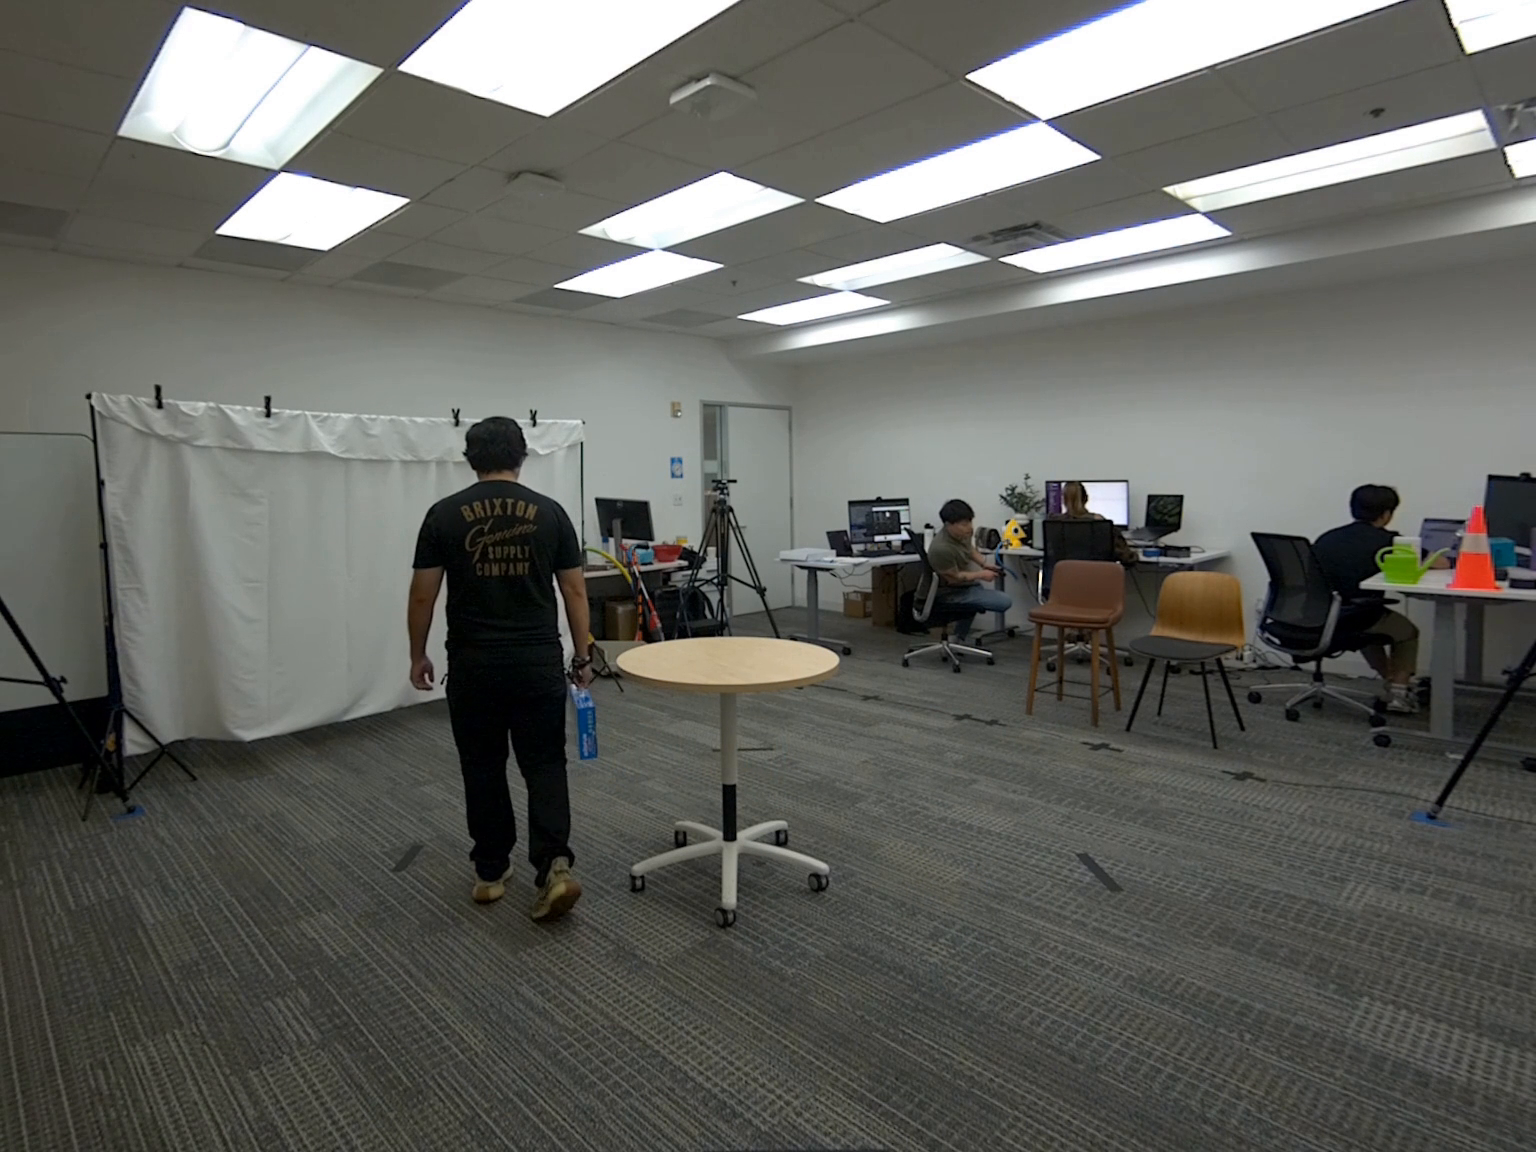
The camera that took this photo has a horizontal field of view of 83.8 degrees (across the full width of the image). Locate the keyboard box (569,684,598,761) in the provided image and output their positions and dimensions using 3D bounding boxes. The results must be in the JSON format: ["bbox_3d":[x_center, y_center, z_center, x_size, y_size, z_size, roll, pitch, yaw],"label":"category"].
[{"bbox_3d":[-0.651,0.498,3.011,0.058,0.175,0.444,-4,5,-16],"label":"keyboard box"}]
